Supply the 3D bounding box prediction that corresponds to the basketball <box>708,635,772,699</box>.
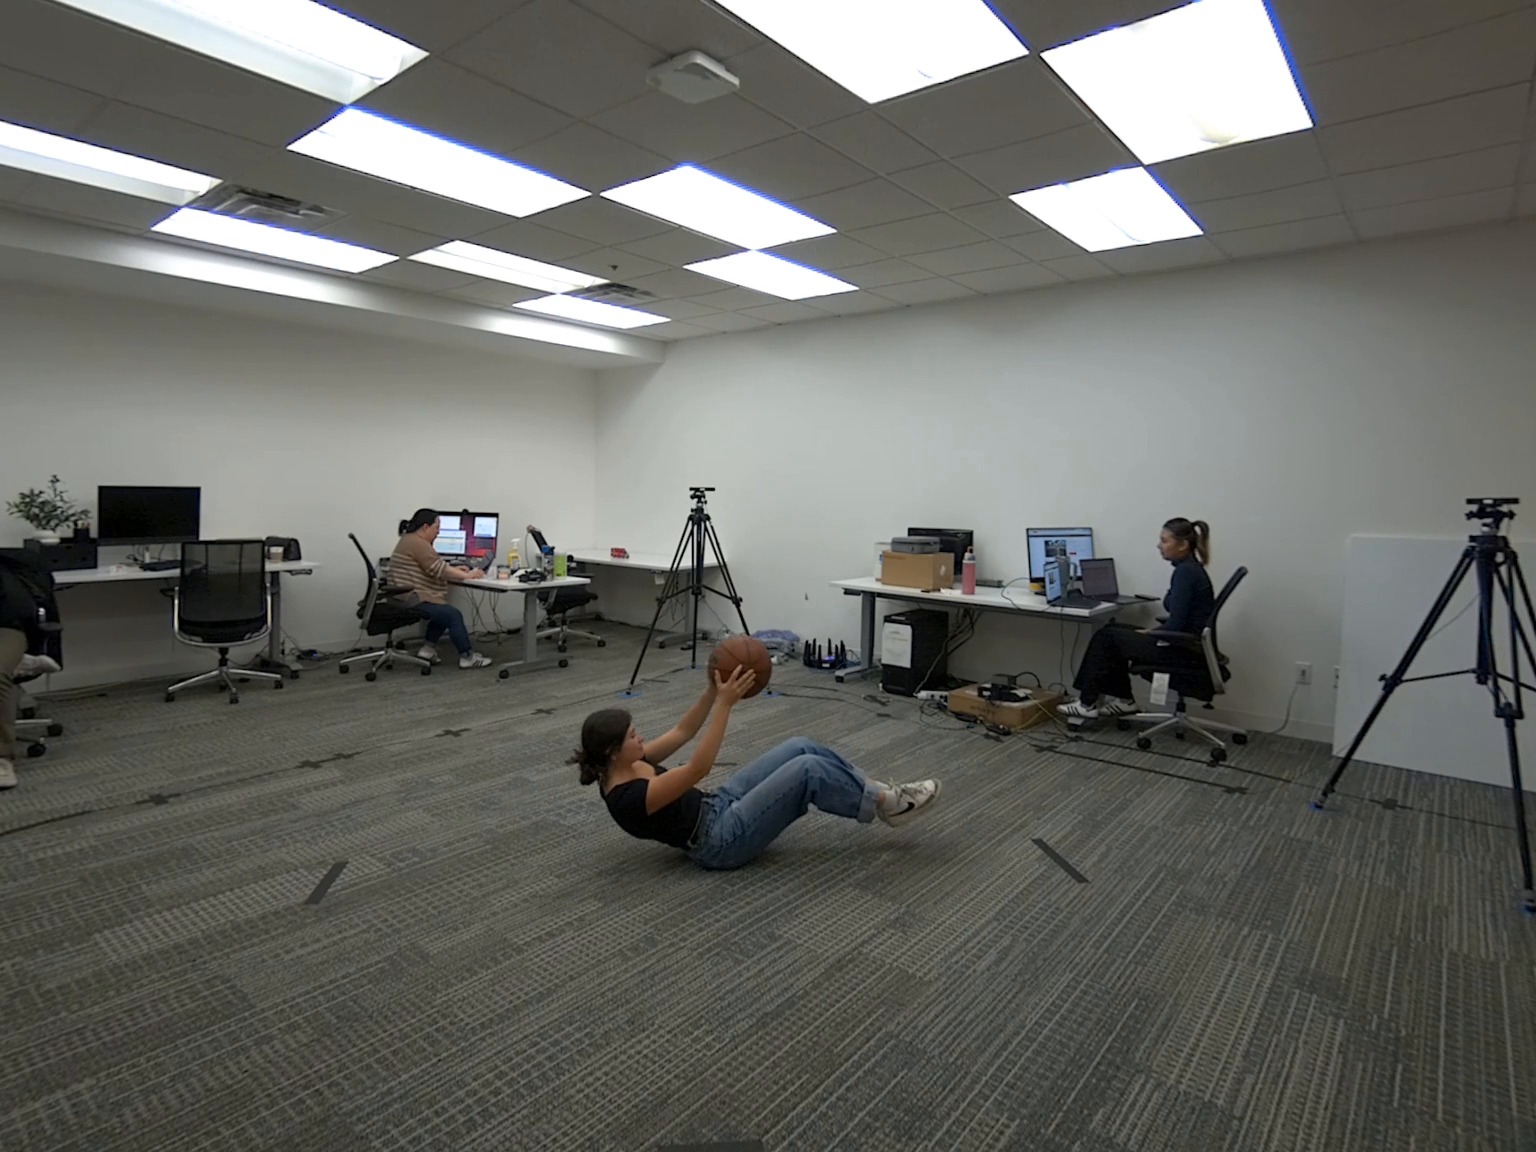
[{"bbox_3d":[-0.119,0.342,3.169,0.235,0.235,0.237,1,4,-2],"label":"basketball"}]
